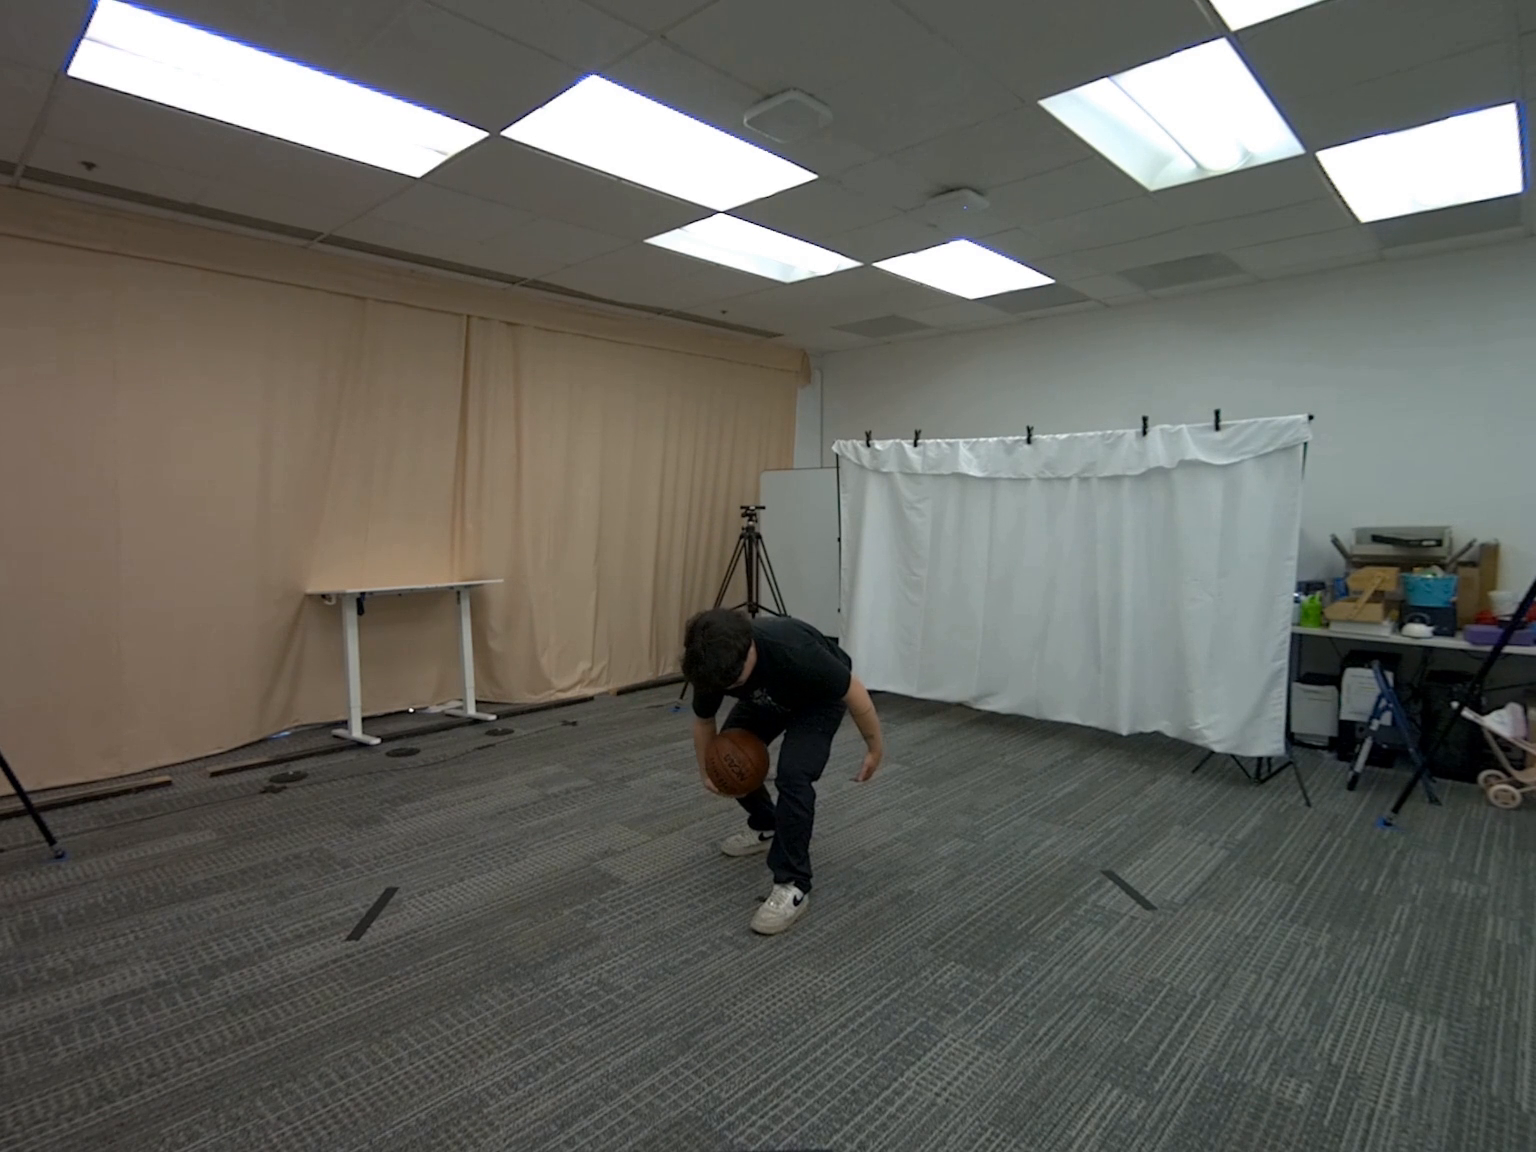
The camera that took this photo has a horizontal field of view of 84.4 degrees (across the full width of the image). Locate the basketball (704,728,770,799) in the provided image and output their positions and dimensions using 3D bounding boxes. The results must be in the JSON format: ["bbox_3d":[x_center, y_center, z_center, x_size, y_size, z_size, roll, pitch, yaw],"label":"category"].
[{"bbox_3d":[-0.106,0.676,3.089,0.236,0.235,0.237,0,4,-2],"label":"basketball"}]
